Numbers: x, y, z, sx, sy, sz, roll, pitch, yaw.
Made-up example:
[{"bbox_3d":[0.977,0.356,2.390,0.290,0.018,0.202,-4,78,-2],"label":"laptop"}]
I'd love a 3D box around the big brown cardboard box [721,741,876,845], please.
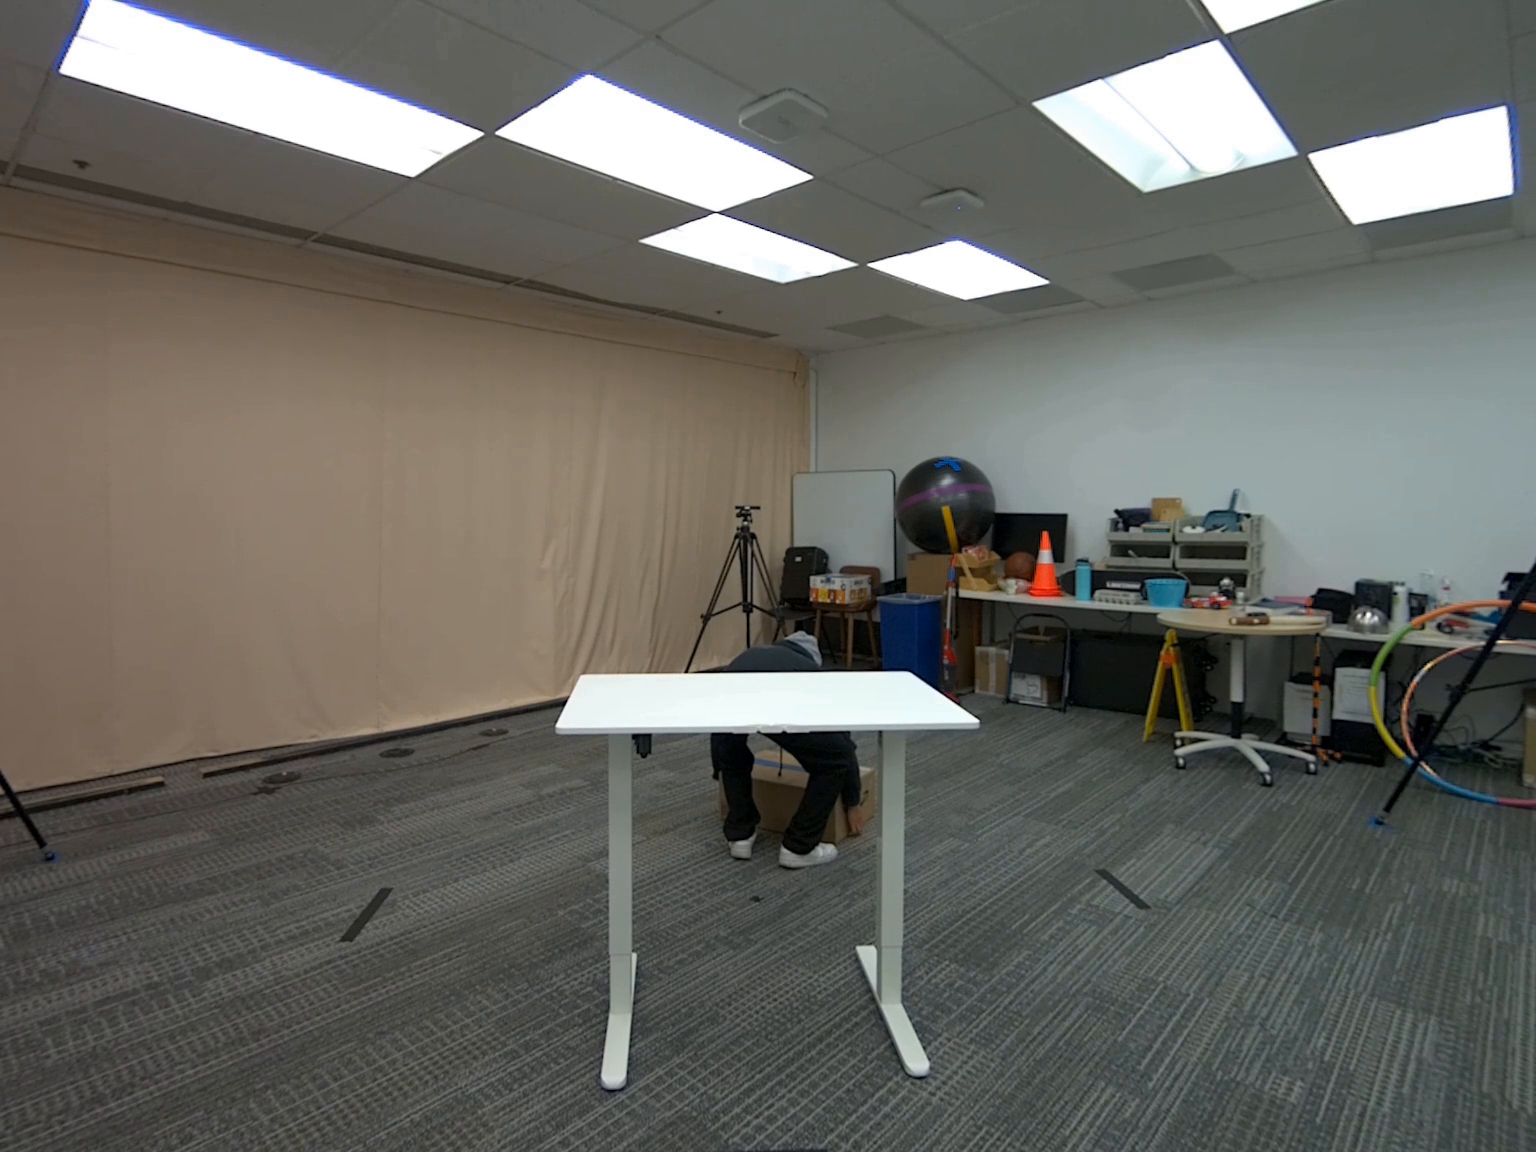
[{"bbox_3d":[0.137,0.971,3.756,0.606,0.233,0.406,1,3,31],"label":"big brown cardboard box"}]
